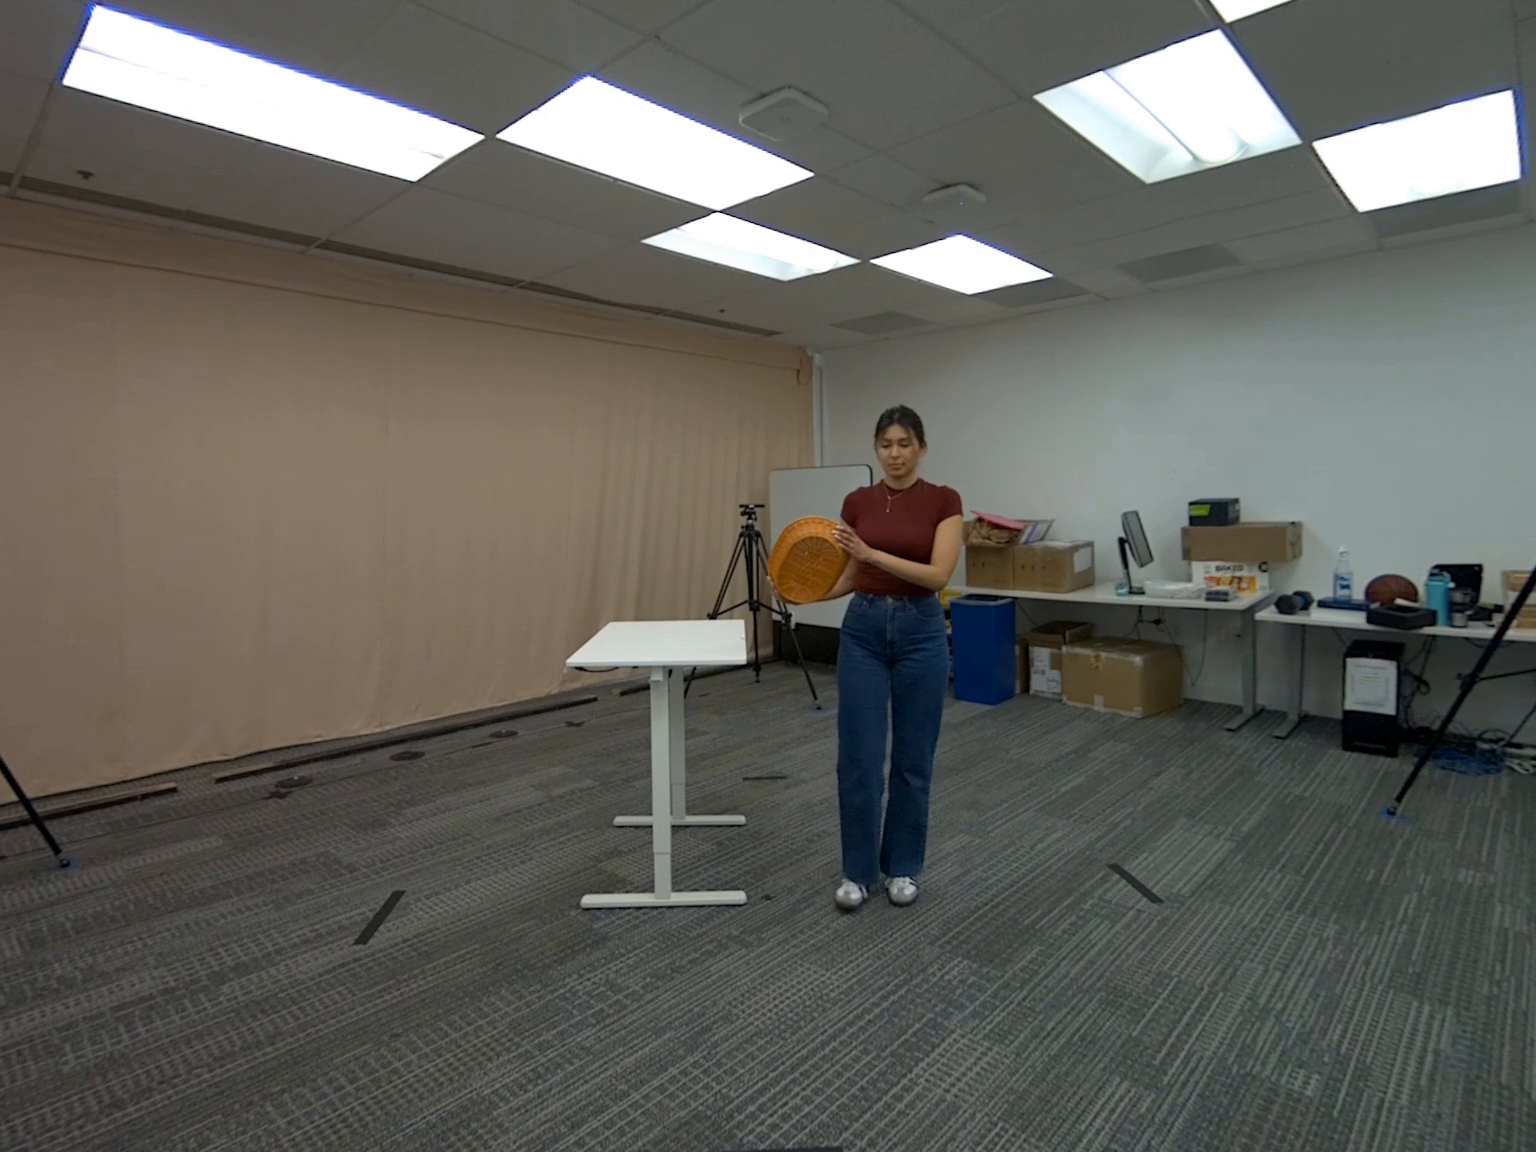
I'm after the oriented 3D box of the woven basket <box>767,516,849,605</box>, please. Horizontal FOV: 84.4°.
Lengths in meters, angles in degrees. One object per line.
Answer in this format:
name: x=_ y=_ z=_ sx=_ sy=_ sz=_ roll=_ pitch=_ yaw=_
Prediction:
woven basket: x=0.140 y=-0.034 z=2.811 sx=0.252 sy=0.348 sz=0.074 roll=18 pitch=38 yaw=-1
